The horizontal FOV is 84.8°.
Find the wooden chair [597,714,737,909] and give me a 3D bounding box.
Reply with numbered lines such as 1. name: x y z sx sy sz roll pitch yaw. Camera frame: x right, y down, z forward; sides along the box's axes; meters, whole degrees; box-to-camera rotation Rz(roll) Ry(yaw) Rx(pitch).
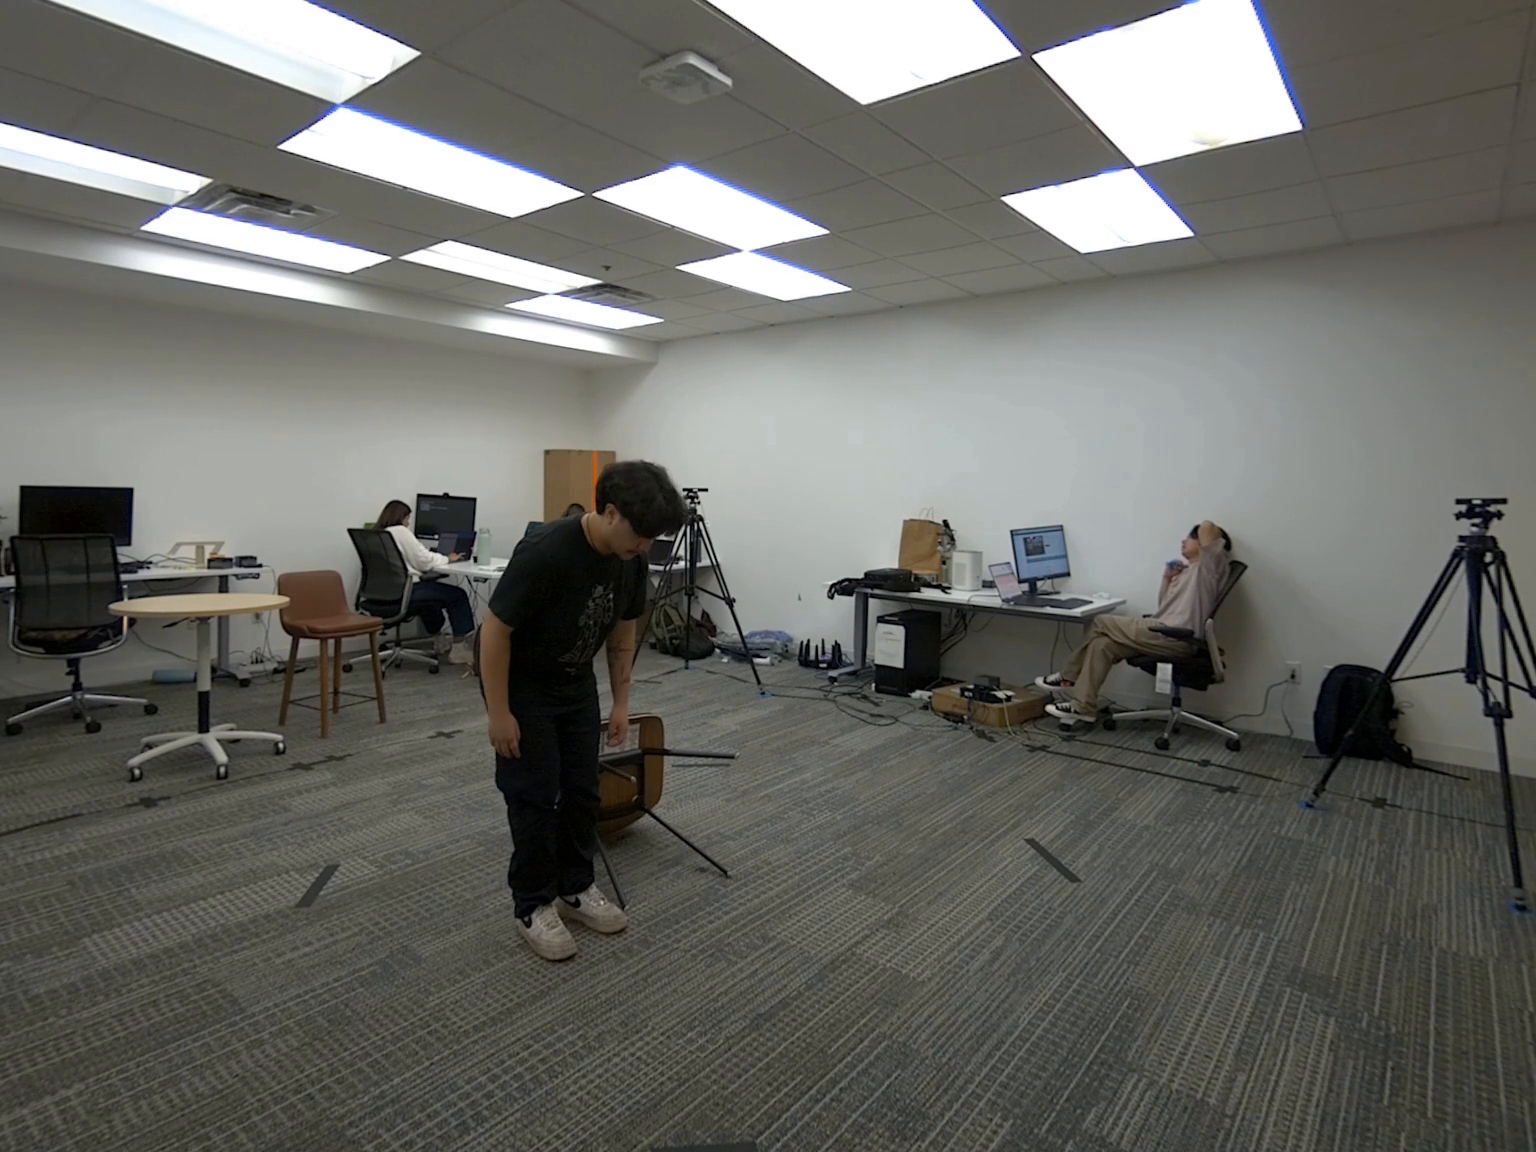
1. wooden chair: -0.575 0.797 3.225 0.464 0.521 0.907 -3 5 -39
